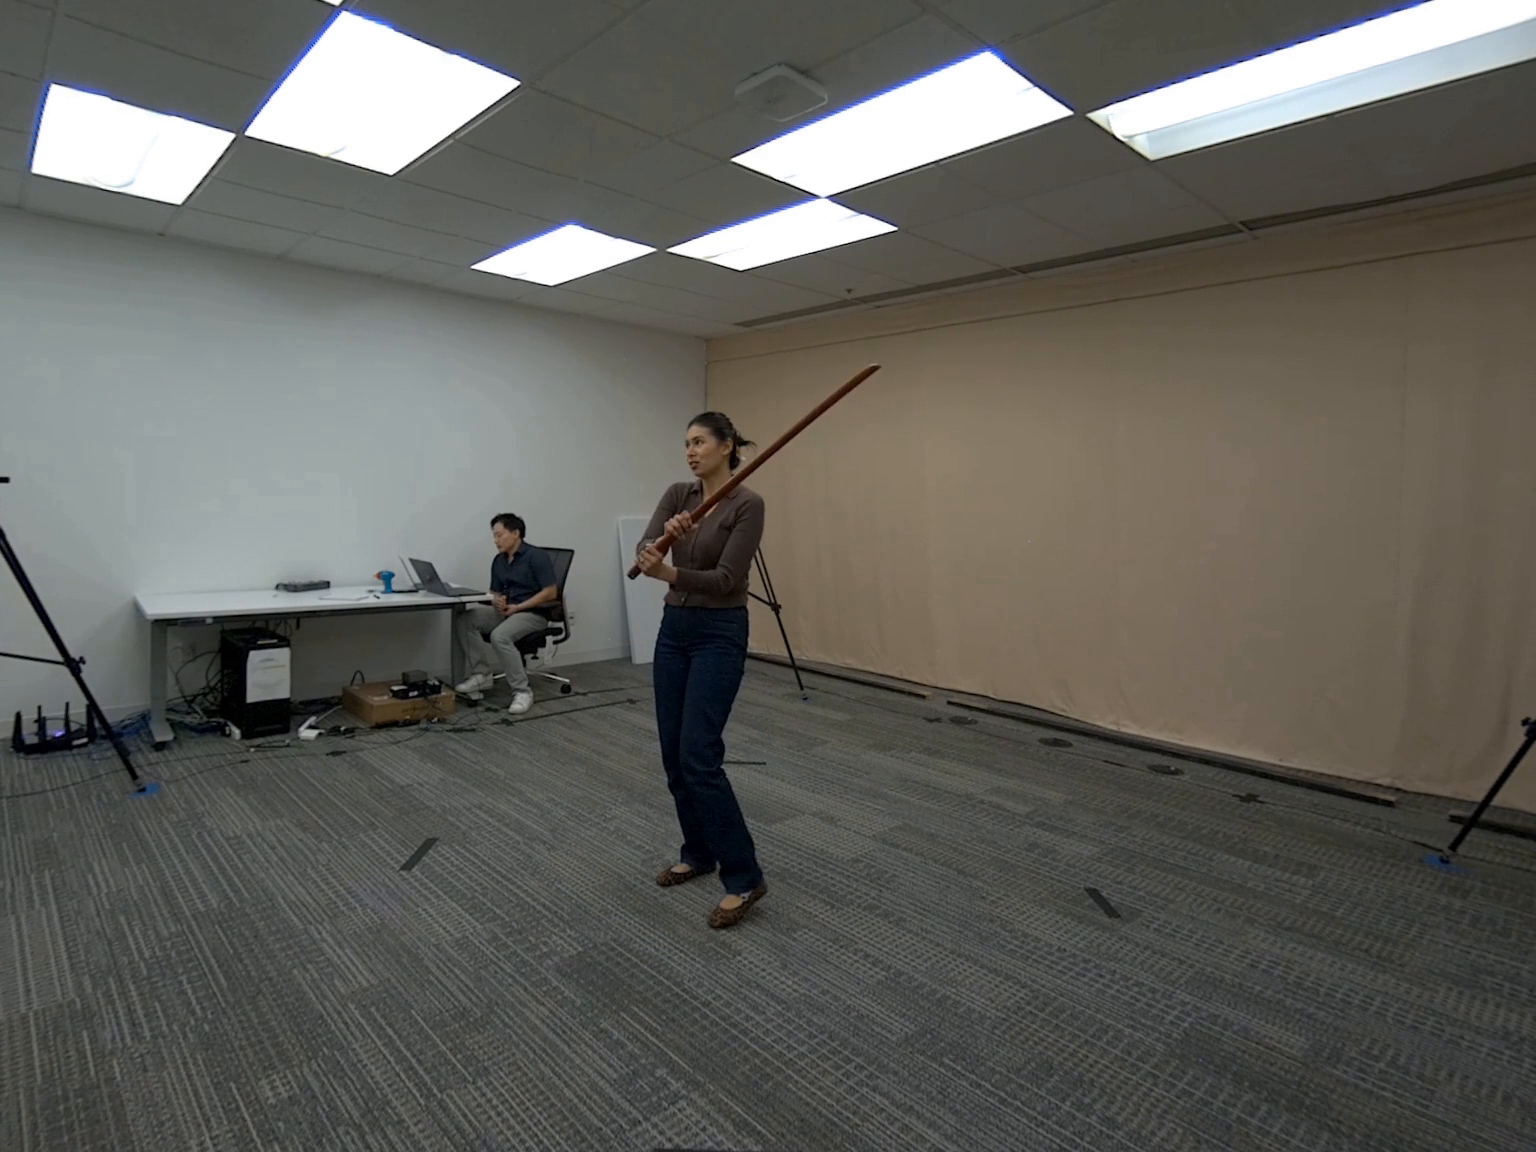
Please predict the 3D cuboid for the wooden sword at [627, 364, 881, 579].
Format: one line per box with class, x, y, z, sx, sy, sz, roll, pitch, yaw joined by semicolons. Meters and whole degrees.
wooden sword;-0.047;-0.319;2.600;0.050;1.025;0.025;46;8;-43
